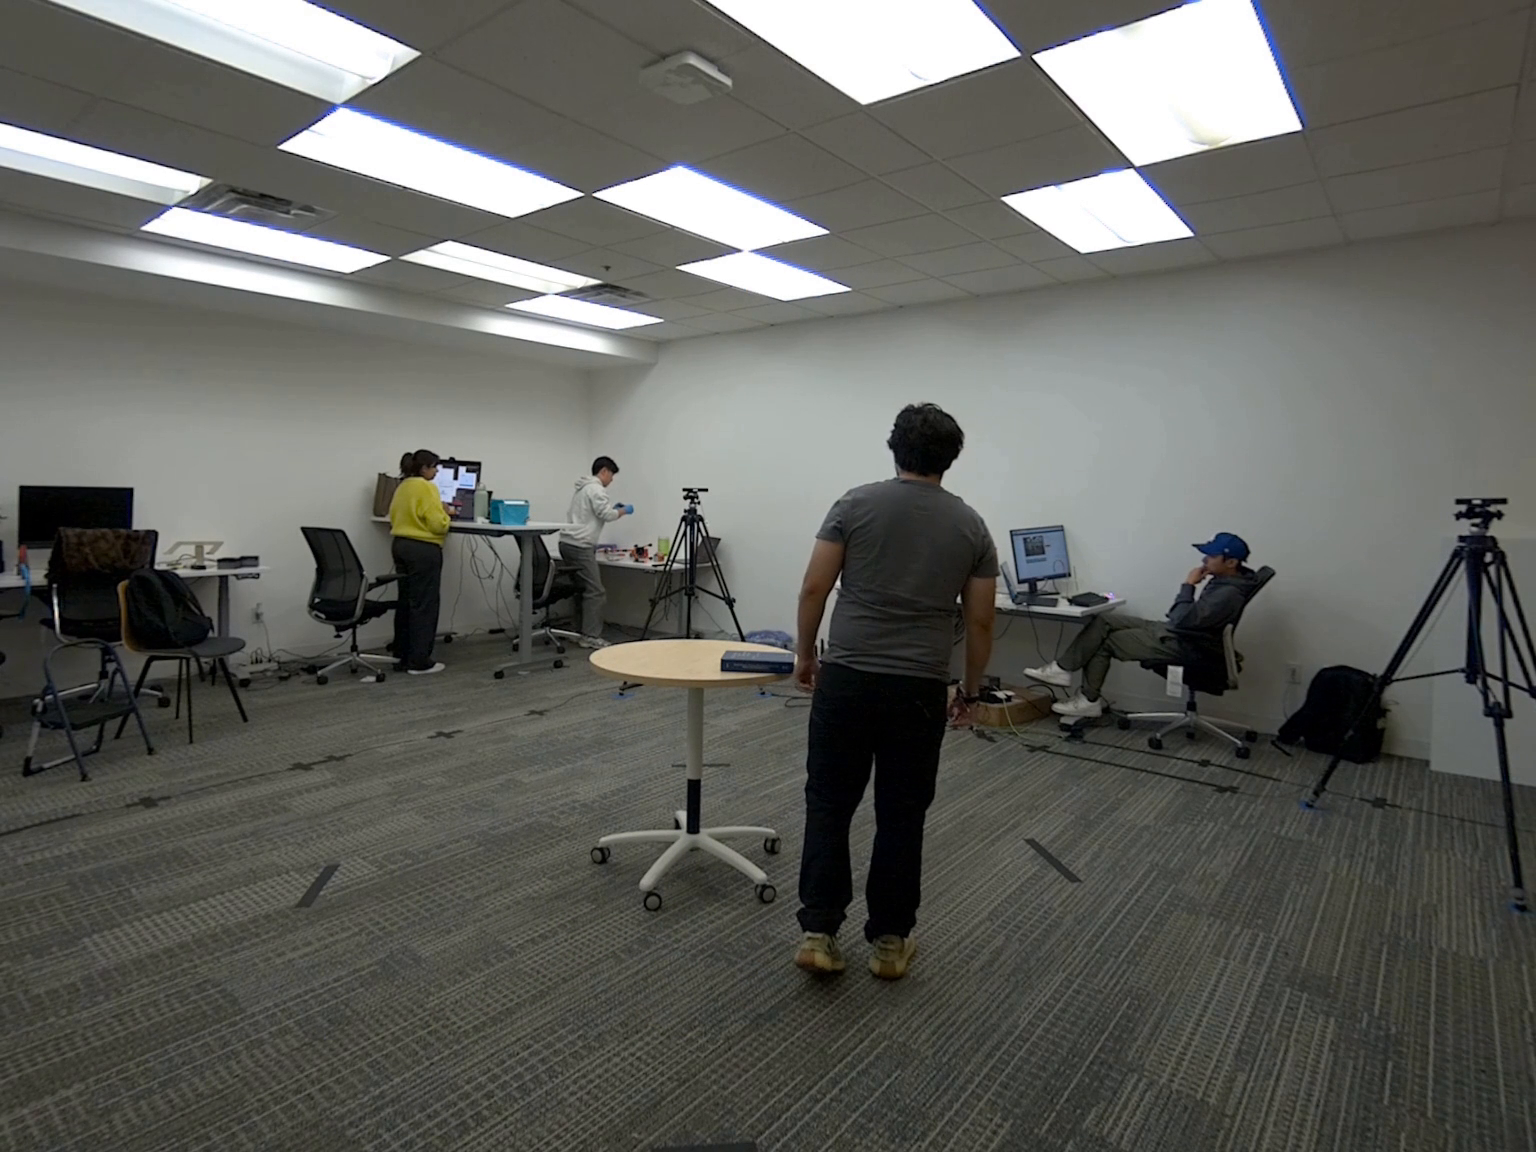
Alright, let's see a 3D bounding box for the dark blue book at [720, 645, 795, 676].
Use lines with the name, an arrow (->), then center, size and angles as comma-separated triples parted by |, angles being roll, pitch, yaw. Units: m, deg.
dark blue book -> -0.045, 0.289, 2.881 | 0.247, 0.045, 0.163 | 1, 4, 6
